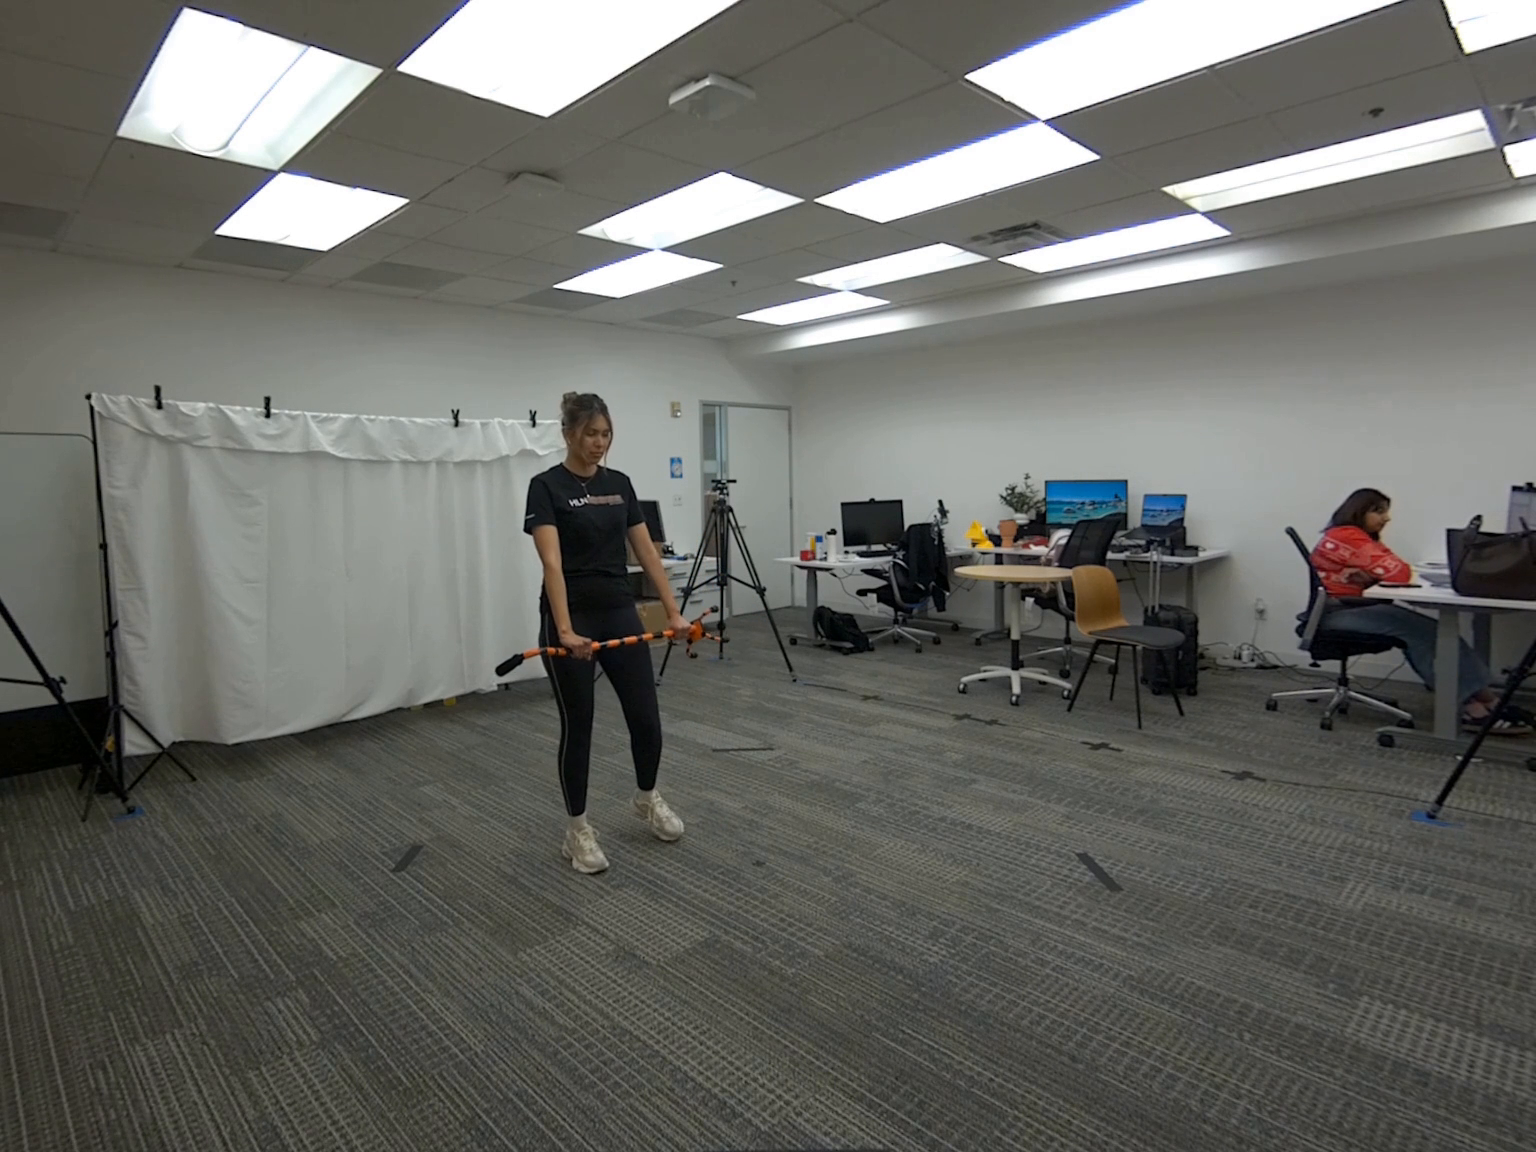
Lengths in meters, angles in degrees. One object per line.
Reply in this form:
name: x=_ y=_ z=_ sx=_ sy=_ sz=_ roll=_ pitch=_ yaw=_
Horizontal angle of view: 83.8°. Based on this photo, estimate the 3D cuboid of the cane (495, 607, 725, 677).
cane: x=-0.494 y=0.248 z=2.951 sx=0.208 sy=0.154 sz=0.884 roll=-33 pitch=-16 yaw=36
